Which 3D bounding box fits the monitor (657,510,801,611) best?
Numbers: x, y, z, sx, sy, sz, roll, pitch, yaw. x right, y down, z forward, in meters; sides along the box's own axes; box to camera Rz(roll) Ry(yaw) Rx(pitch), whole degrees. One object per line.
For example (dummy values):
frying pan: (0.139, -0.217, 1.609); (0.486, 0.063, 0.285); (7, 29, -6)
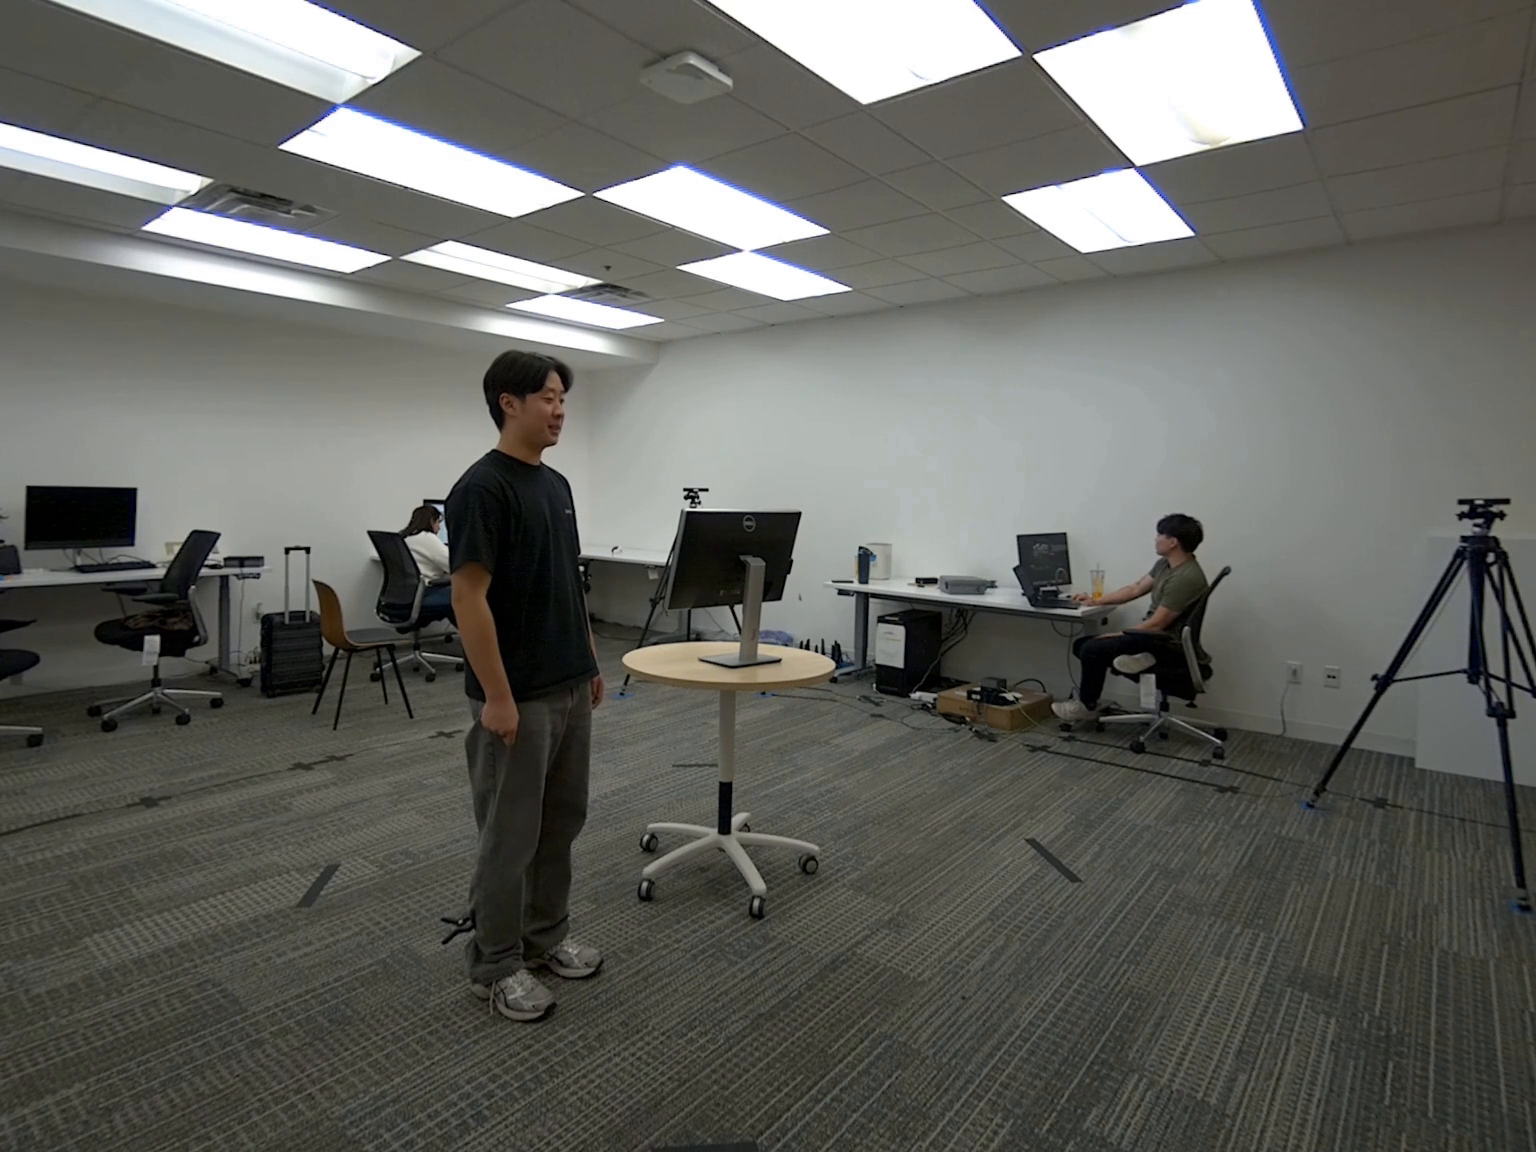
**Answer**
monitor: (-0.108, 0.041, 3.045); (0.545, 0.565, 0.229); (-1, 2, -39)
